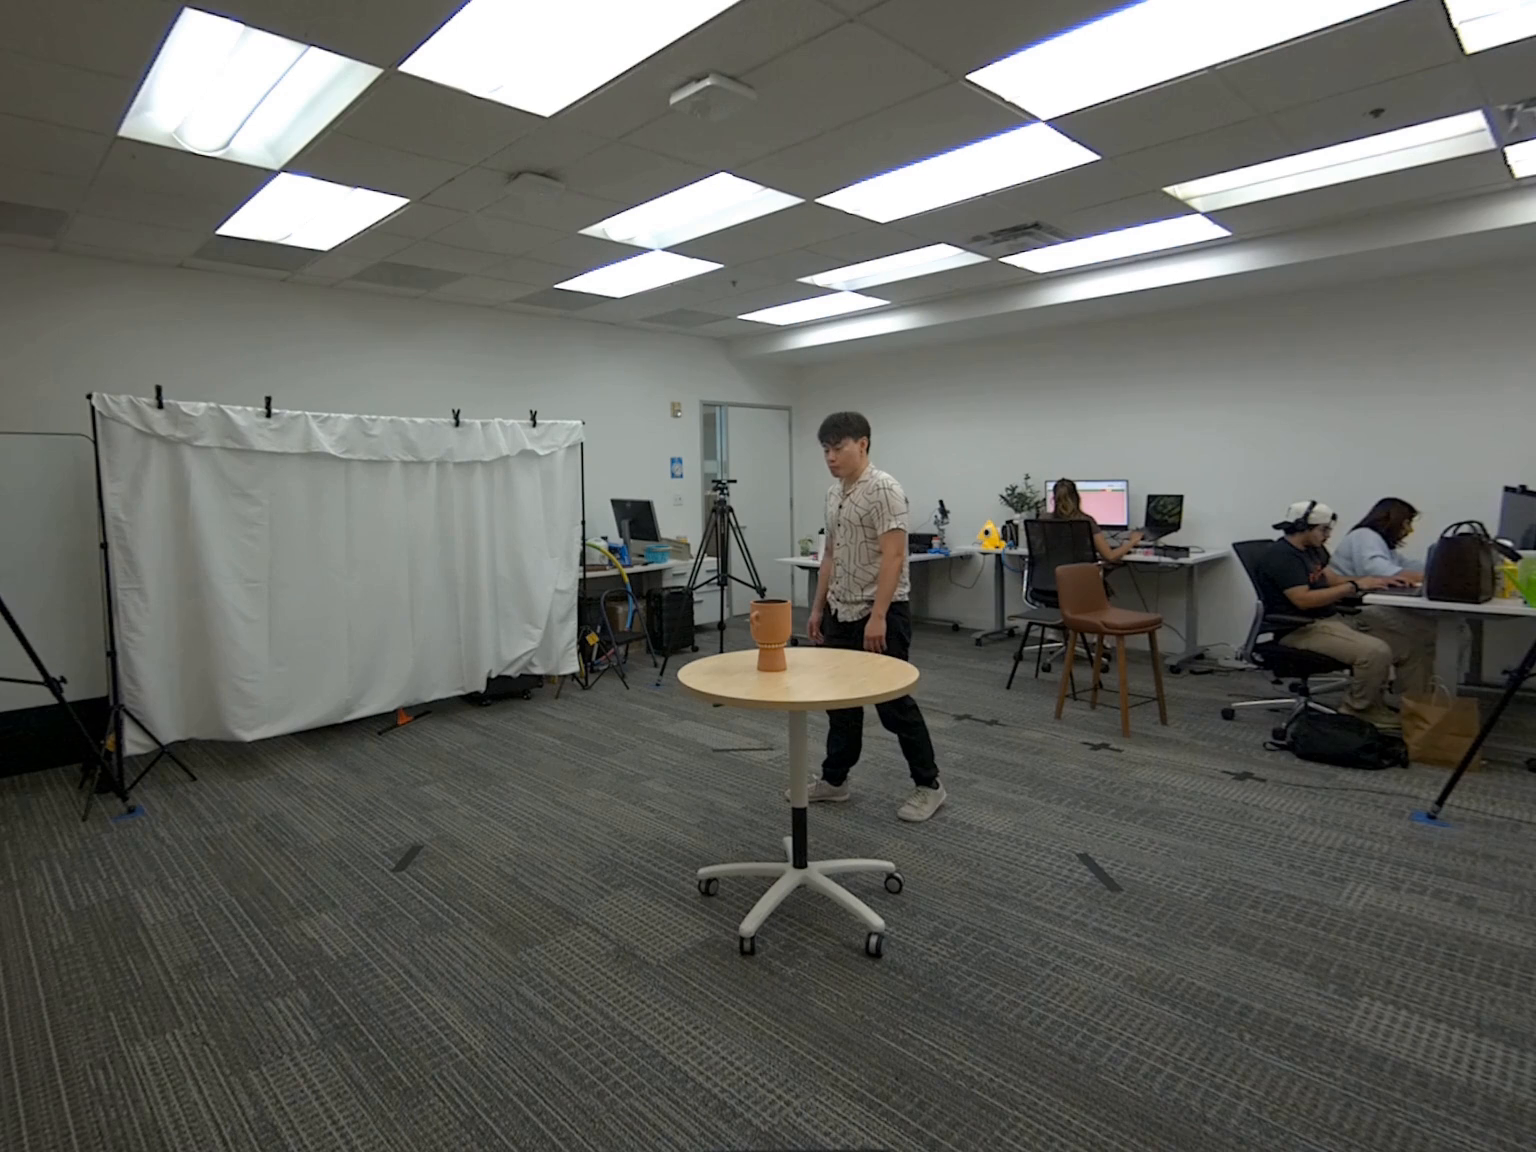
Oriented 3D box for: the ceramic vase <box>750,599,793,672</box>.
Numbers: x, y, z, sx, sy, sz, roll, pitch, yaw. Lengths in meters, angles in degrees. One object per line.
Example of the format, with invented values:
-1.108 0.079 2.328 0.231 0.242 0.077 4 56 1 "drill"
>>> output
0.015 0.196 2.771 0.157 0.219 0.136 -2 4 -11 "ceramic vase"
